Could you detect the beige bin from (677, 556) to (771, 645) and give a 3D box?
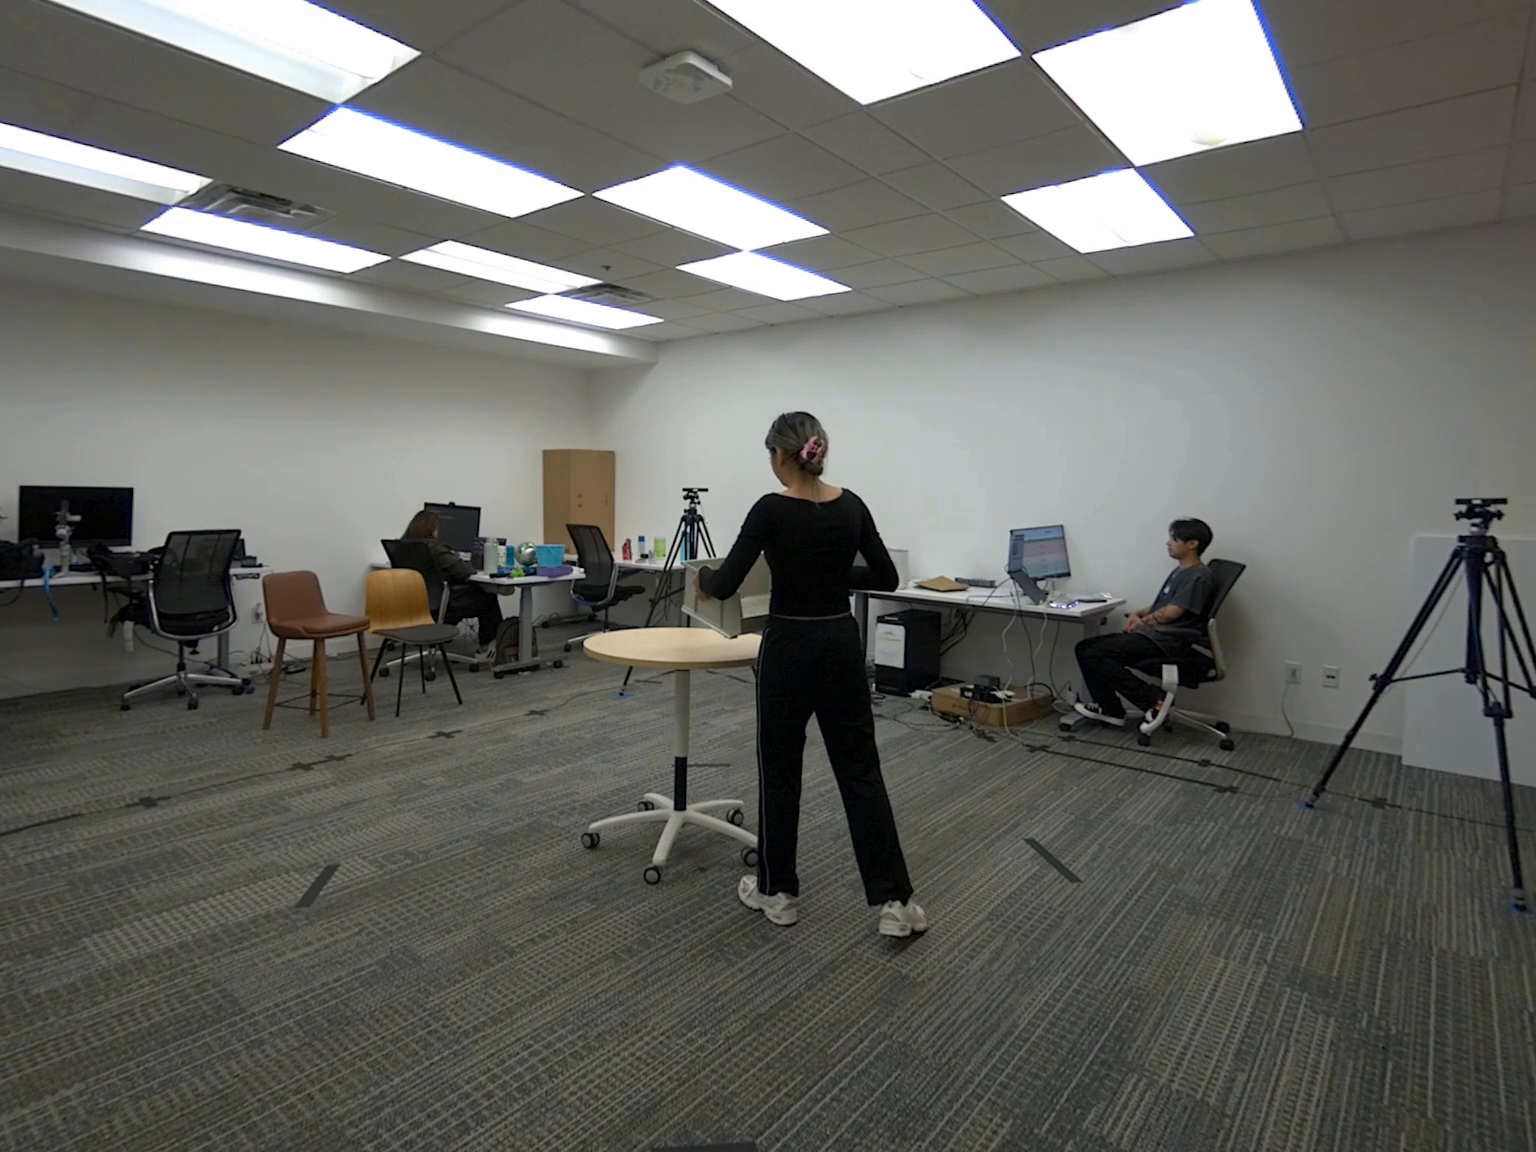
[{"bbox_3d":[-0.044,0.063,2.997,0.411,0.186,0.392,-8,18,-34],"label":"beige bin"}]
